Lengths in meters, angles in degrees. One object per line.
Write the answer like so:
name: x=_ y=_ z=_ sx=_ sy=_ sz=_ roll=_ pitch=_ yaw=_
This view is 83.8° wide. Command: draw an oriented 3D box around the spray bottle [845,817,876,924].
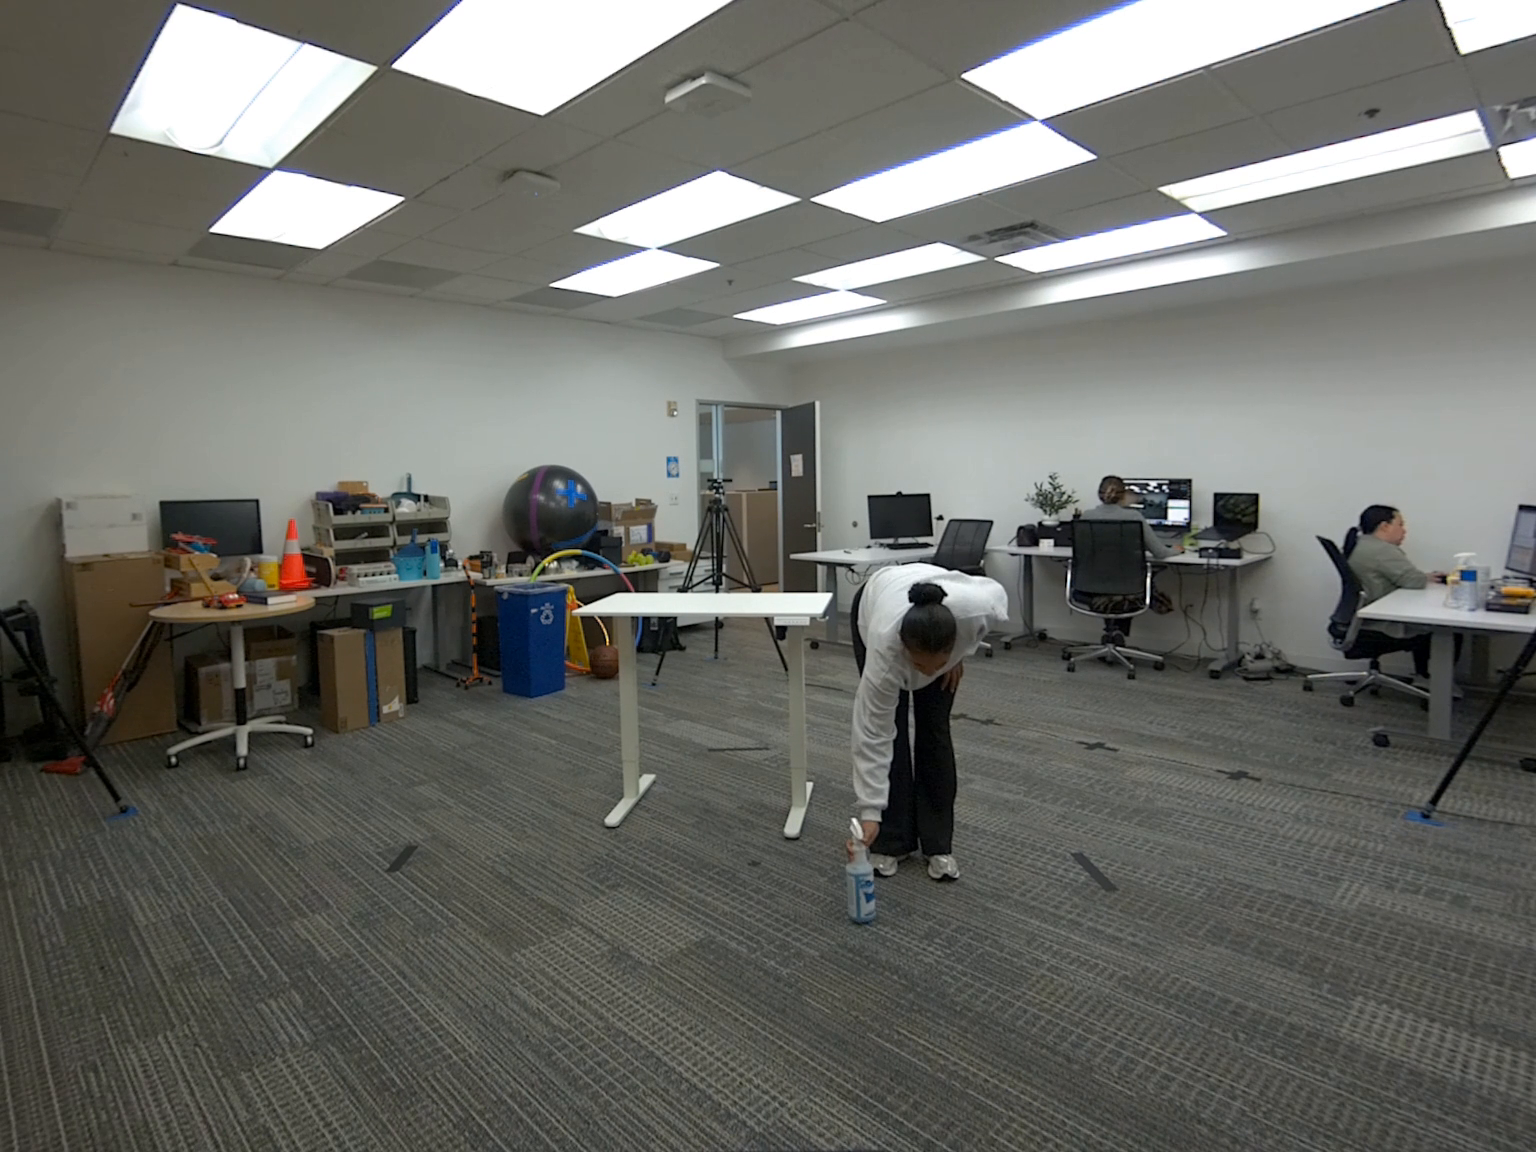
spray bottle: x=0.297 y=0.924 z=2.692 sx=0.088 sy=0.296 sz=0.088 roll=-1 pitch=3 yaw=20
